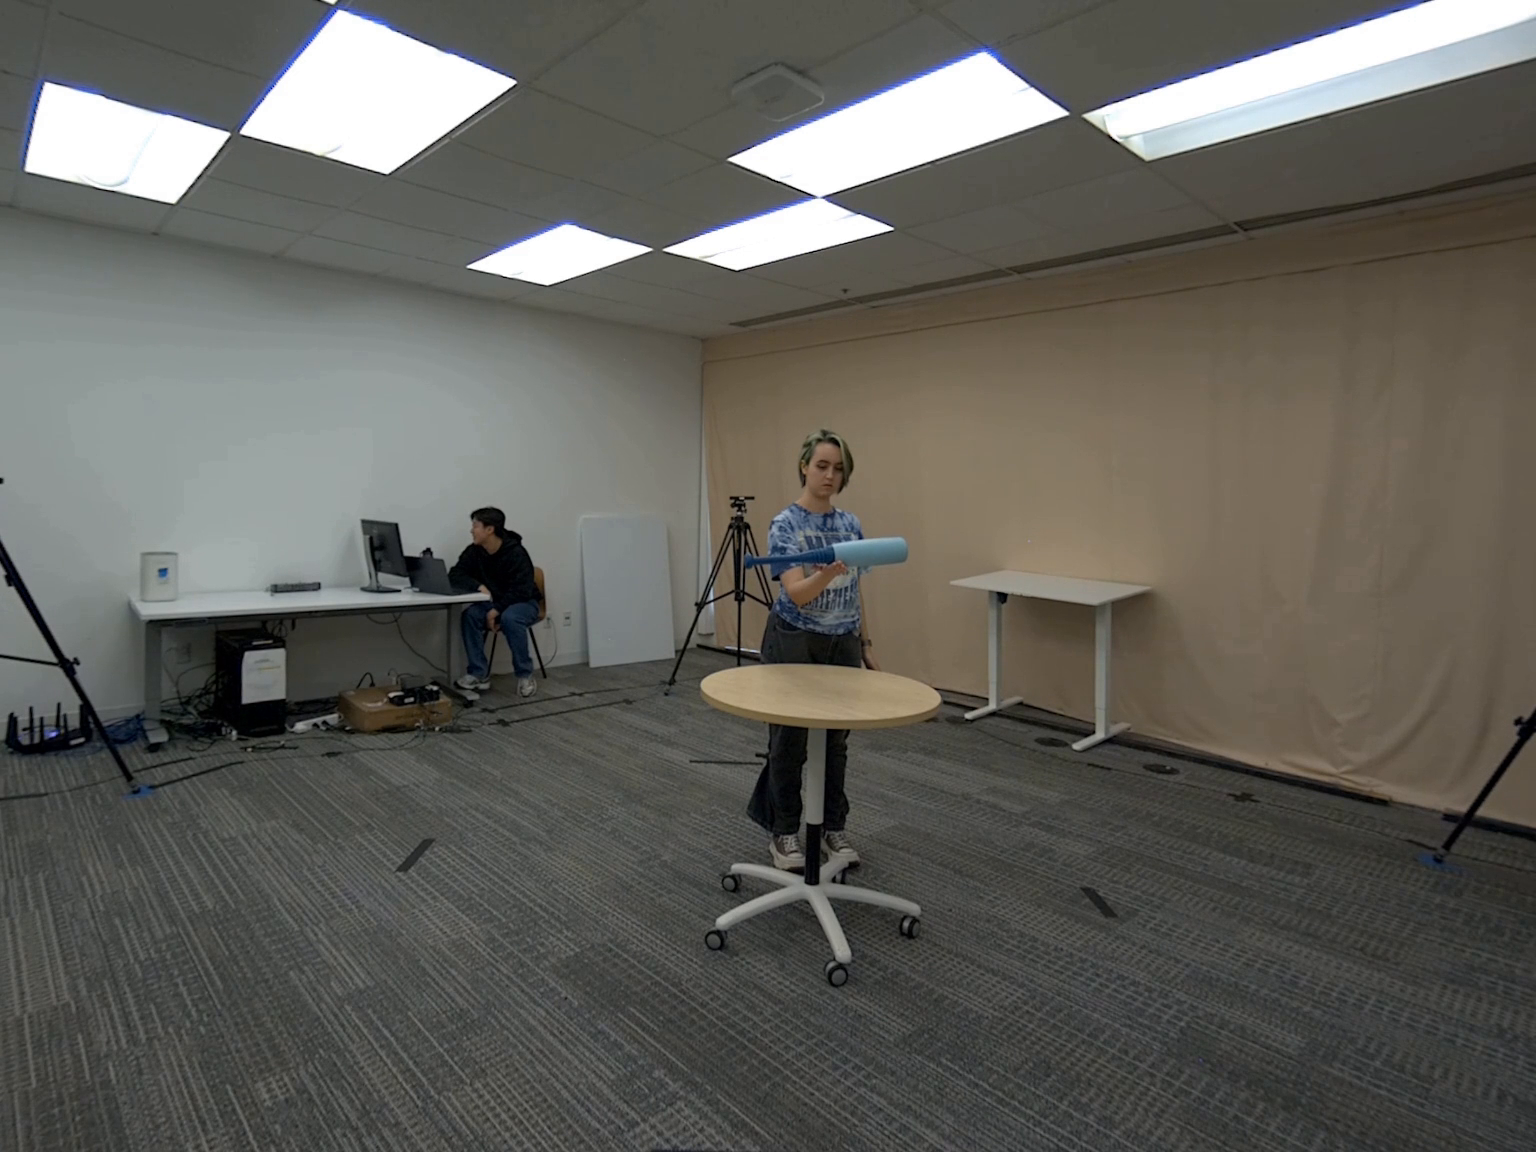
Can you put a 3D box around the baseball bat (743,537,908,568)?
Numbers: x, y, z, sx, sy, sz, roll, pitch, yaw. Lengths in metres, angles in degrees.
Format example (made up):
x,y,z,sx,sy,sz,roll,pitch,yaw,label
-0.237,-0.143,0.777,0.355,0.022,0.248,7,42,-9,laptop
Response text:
x,y,z,sx,sy,sz,roll,pitch,yaw,label
0.182,-0.062,2.729,0.539,0.089,0.090,-5,5,-10,baseball bat
